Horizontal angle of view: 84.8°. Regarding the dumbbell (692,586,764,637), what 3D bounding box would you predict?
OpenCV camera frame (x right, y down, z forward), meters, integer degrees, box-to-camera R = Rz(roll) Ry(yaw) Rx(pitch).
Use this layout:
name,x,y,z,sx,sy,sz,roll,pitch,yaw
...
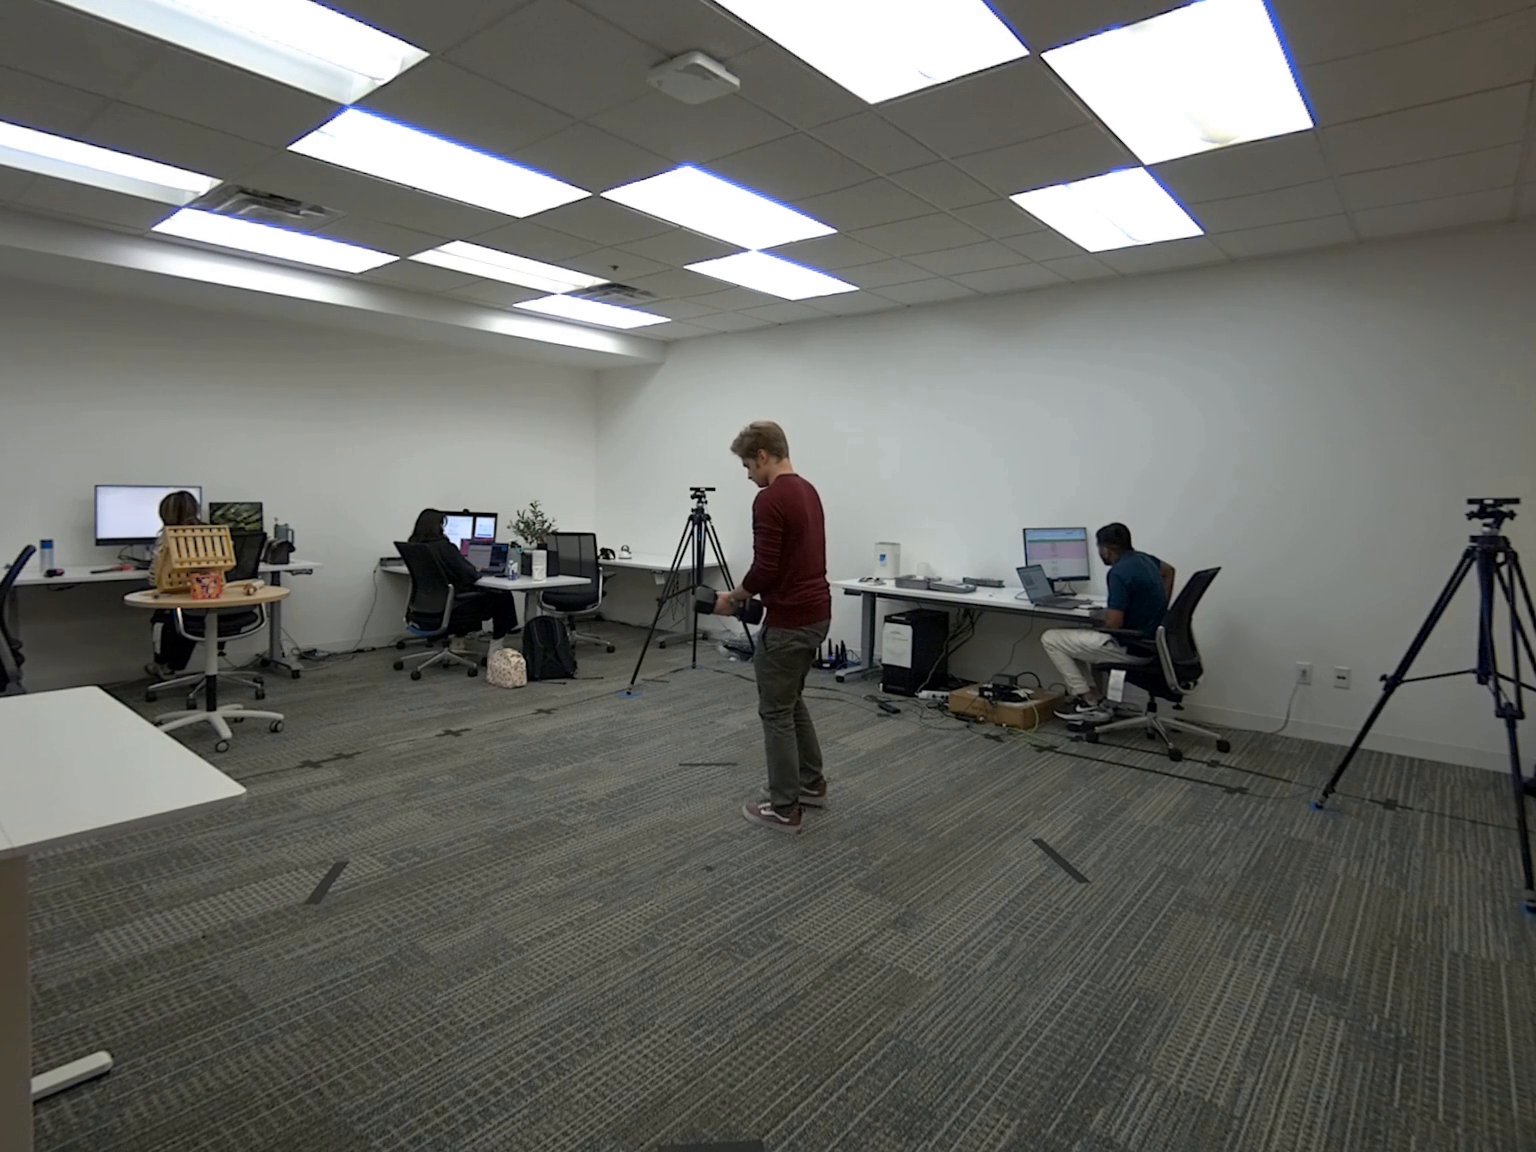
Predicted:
name,x,y,z,sx,sy,sz,roll,pitch,yaw
dumbbell,-0.175,0.120,3.611,0.291,0.126,0.107,11,-35,-7
